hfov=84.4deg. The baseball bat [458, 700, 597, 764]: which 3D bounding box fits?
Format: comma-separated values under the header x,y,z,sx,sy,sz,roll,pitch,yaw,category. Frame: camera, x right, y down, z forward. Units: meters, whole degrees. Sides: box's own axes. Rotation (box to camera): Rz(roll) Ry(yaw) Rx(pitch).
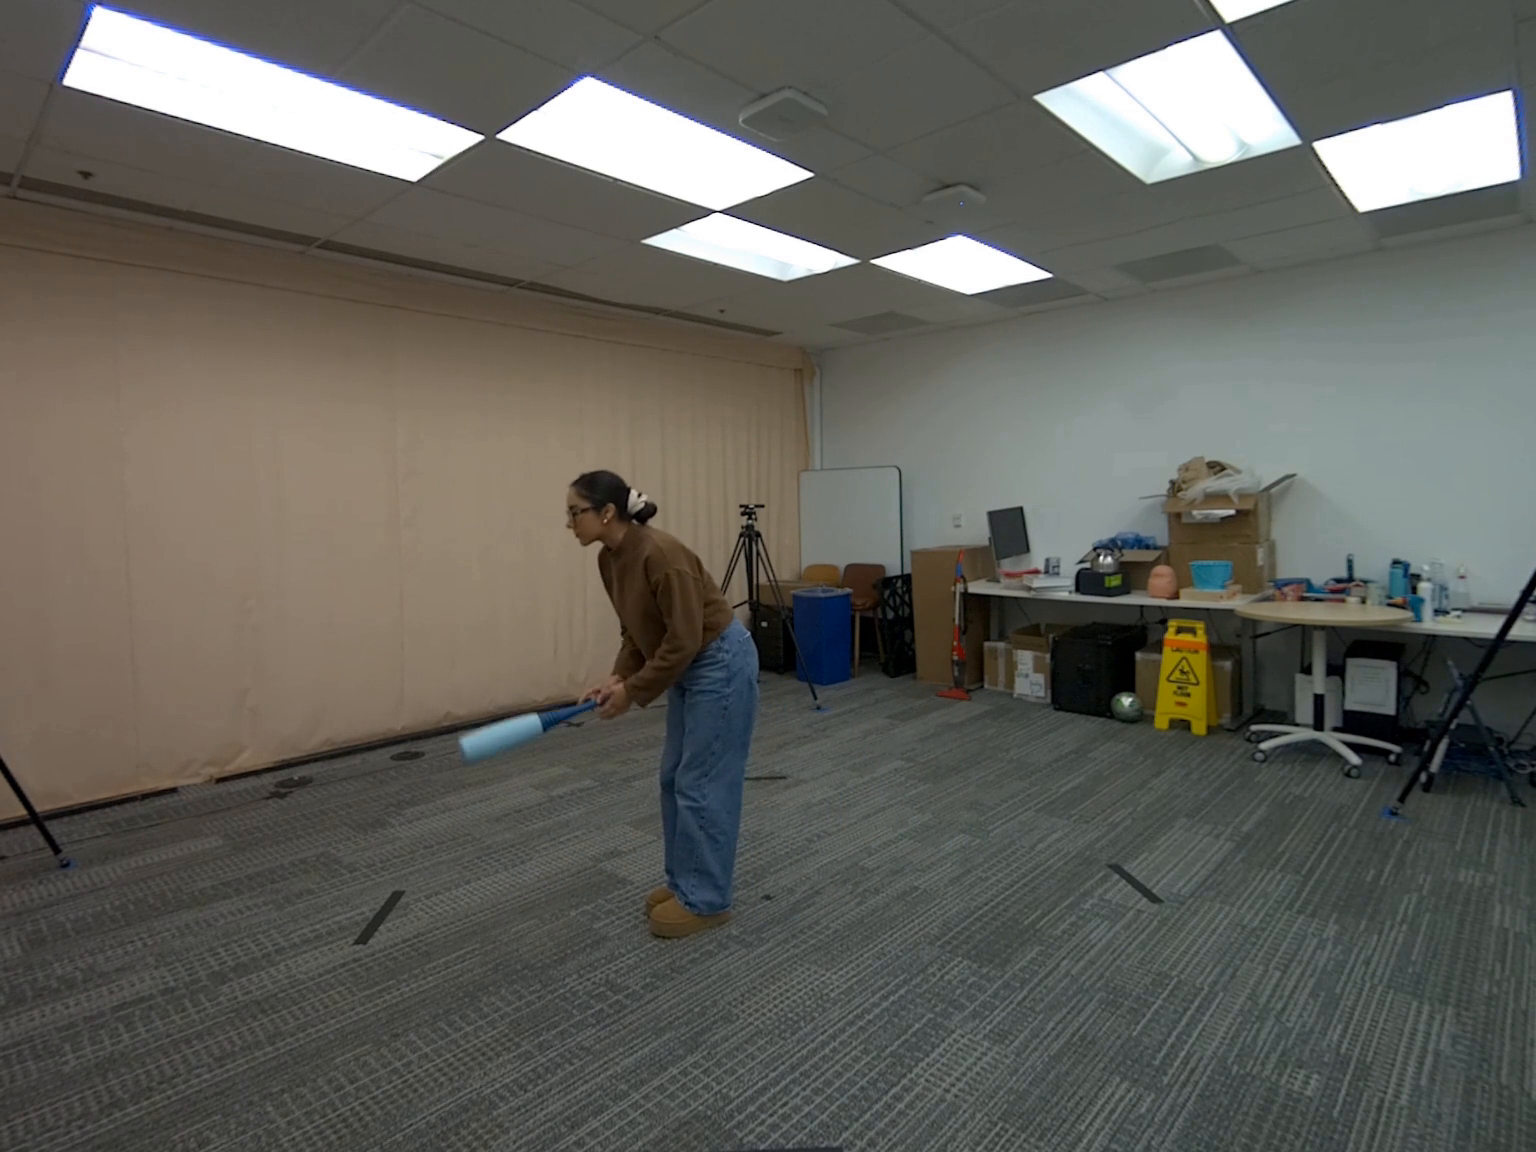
x,y,z,sx,sy,sz,roll,pitch,yaw,category
-0.698,0.454,2.662,0.531,0.088,0.091,-16,11,-28,baseball bat
